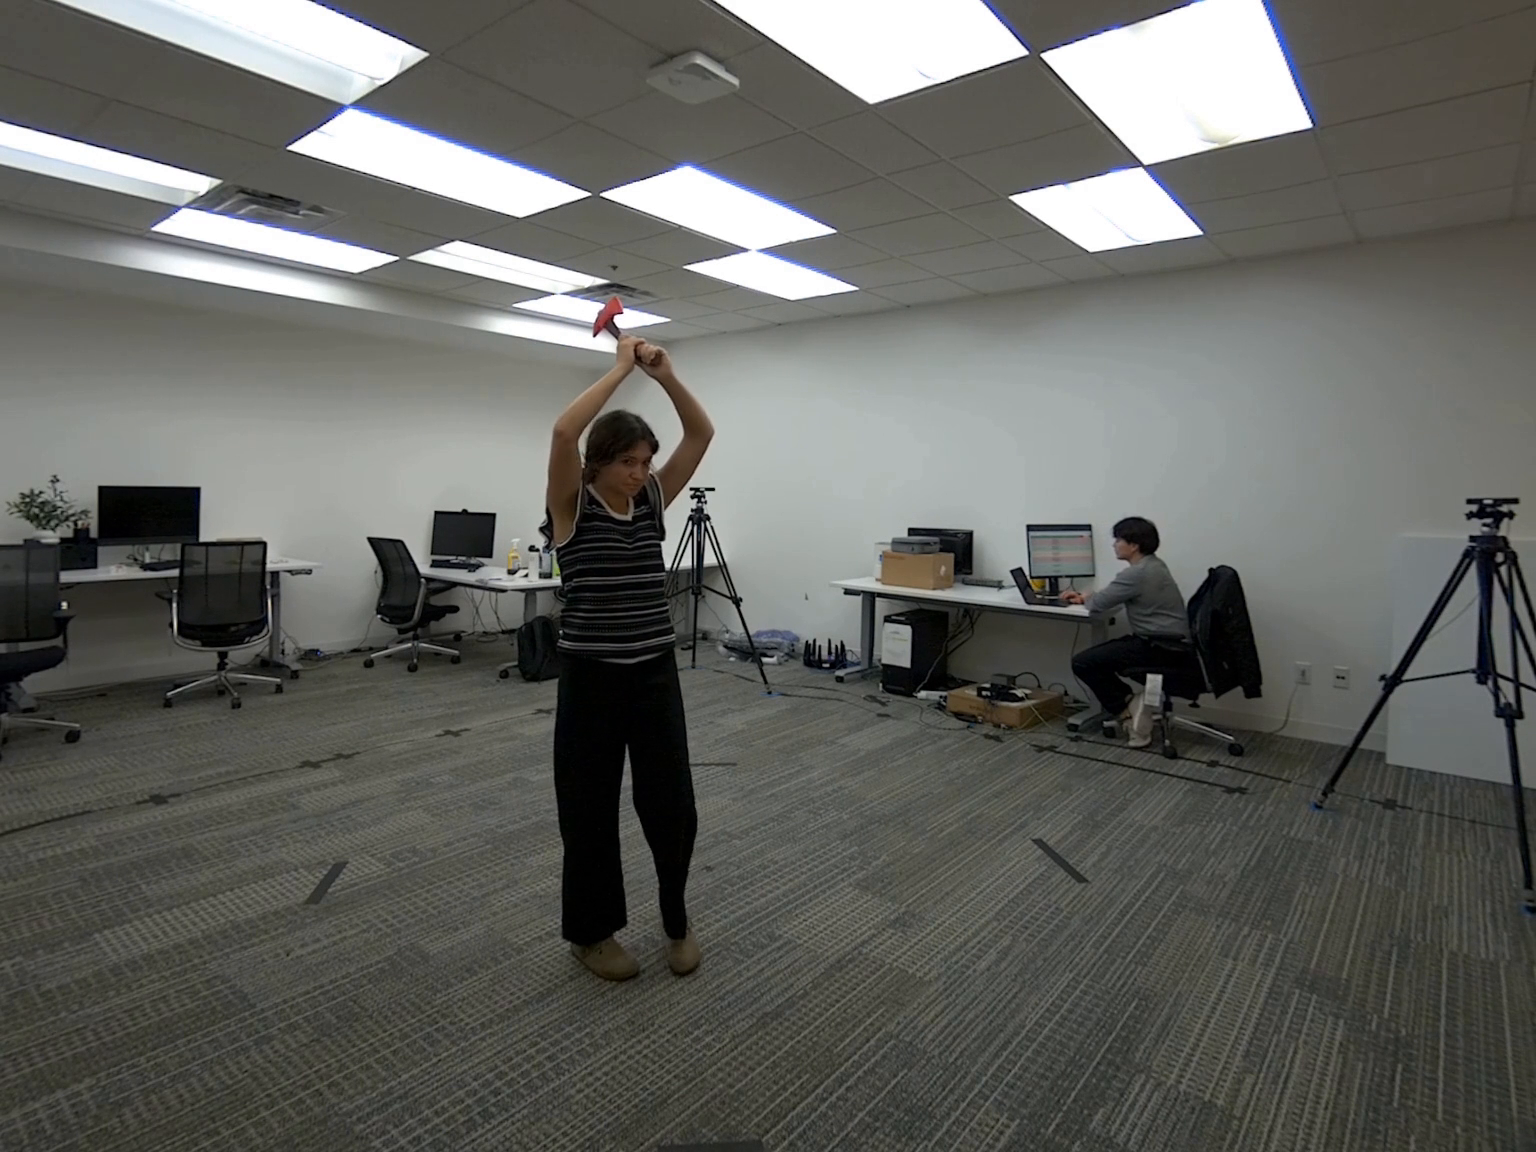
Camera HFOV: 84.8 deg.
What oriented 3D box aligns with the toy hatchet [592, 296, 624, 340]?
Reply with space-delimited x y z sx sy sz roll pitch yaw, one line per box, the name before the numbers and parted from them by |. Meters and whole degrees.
toy hatchet | -0.382 -0.672 2.308 0.280 0.130 0.029 31 18 30
